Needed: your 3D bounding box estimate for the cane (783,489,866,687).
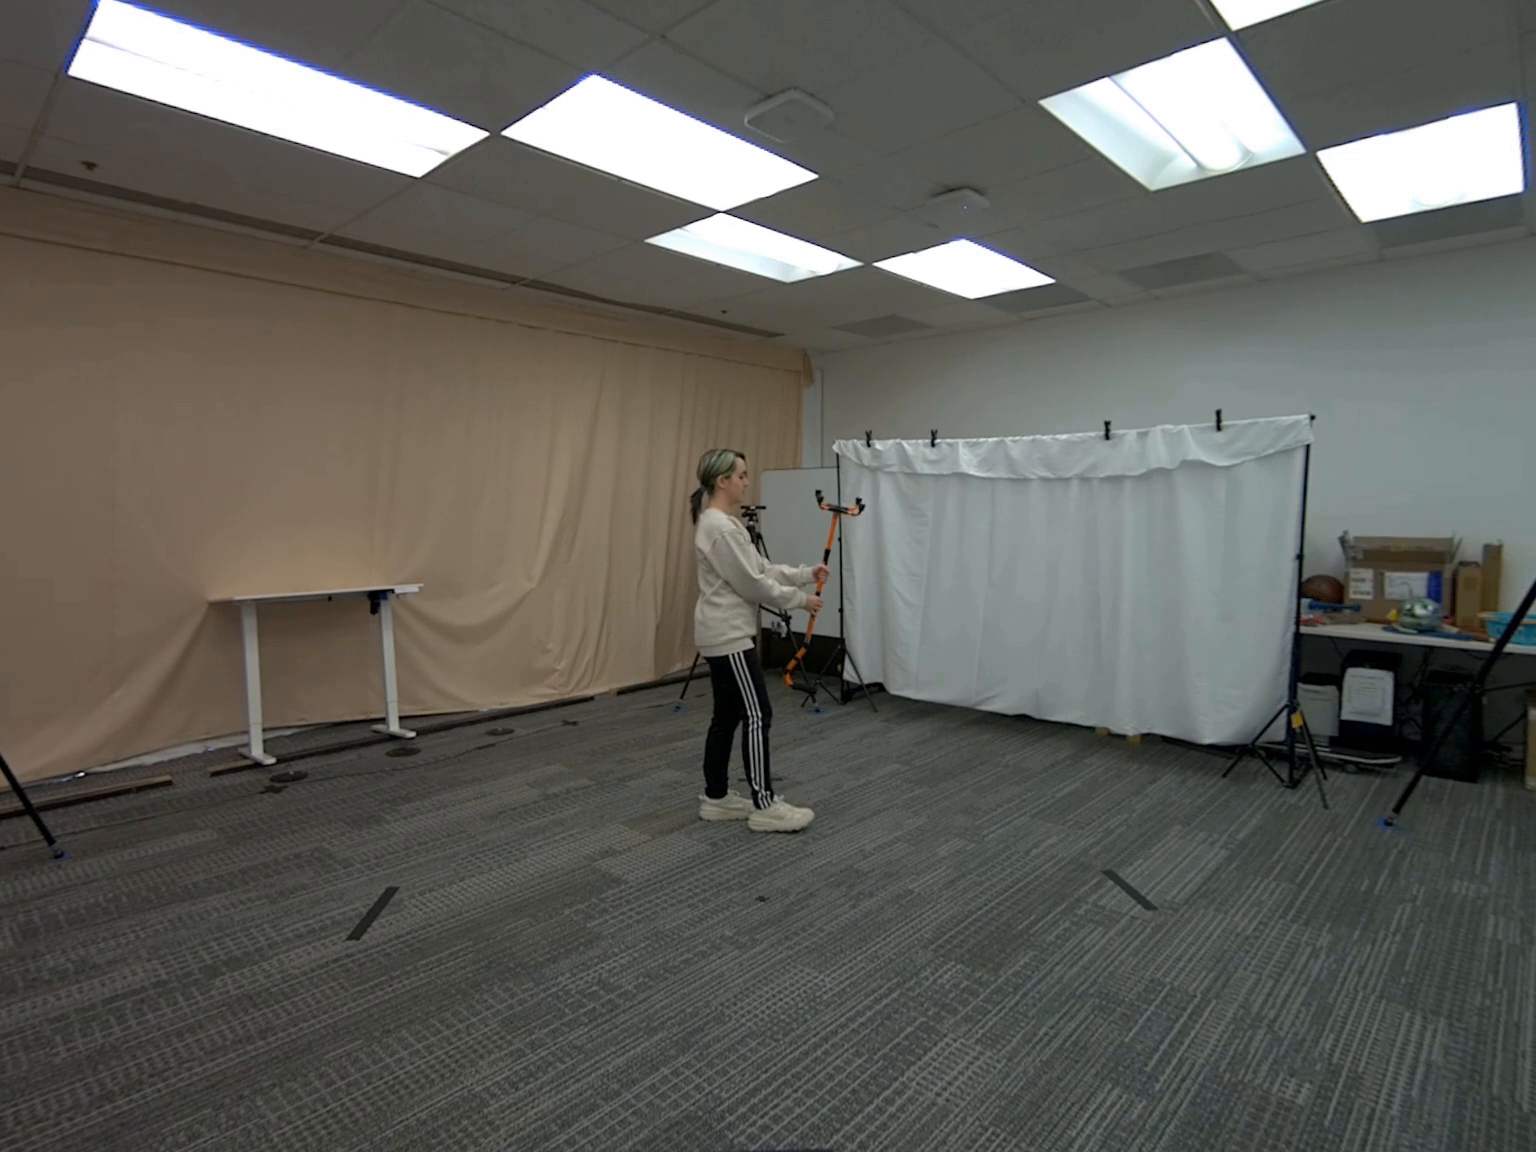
[{"bbox_3d":[0.224,0.095,3.683,0.207,0.903,0.152,13,12,1],"label":"cane"}]
